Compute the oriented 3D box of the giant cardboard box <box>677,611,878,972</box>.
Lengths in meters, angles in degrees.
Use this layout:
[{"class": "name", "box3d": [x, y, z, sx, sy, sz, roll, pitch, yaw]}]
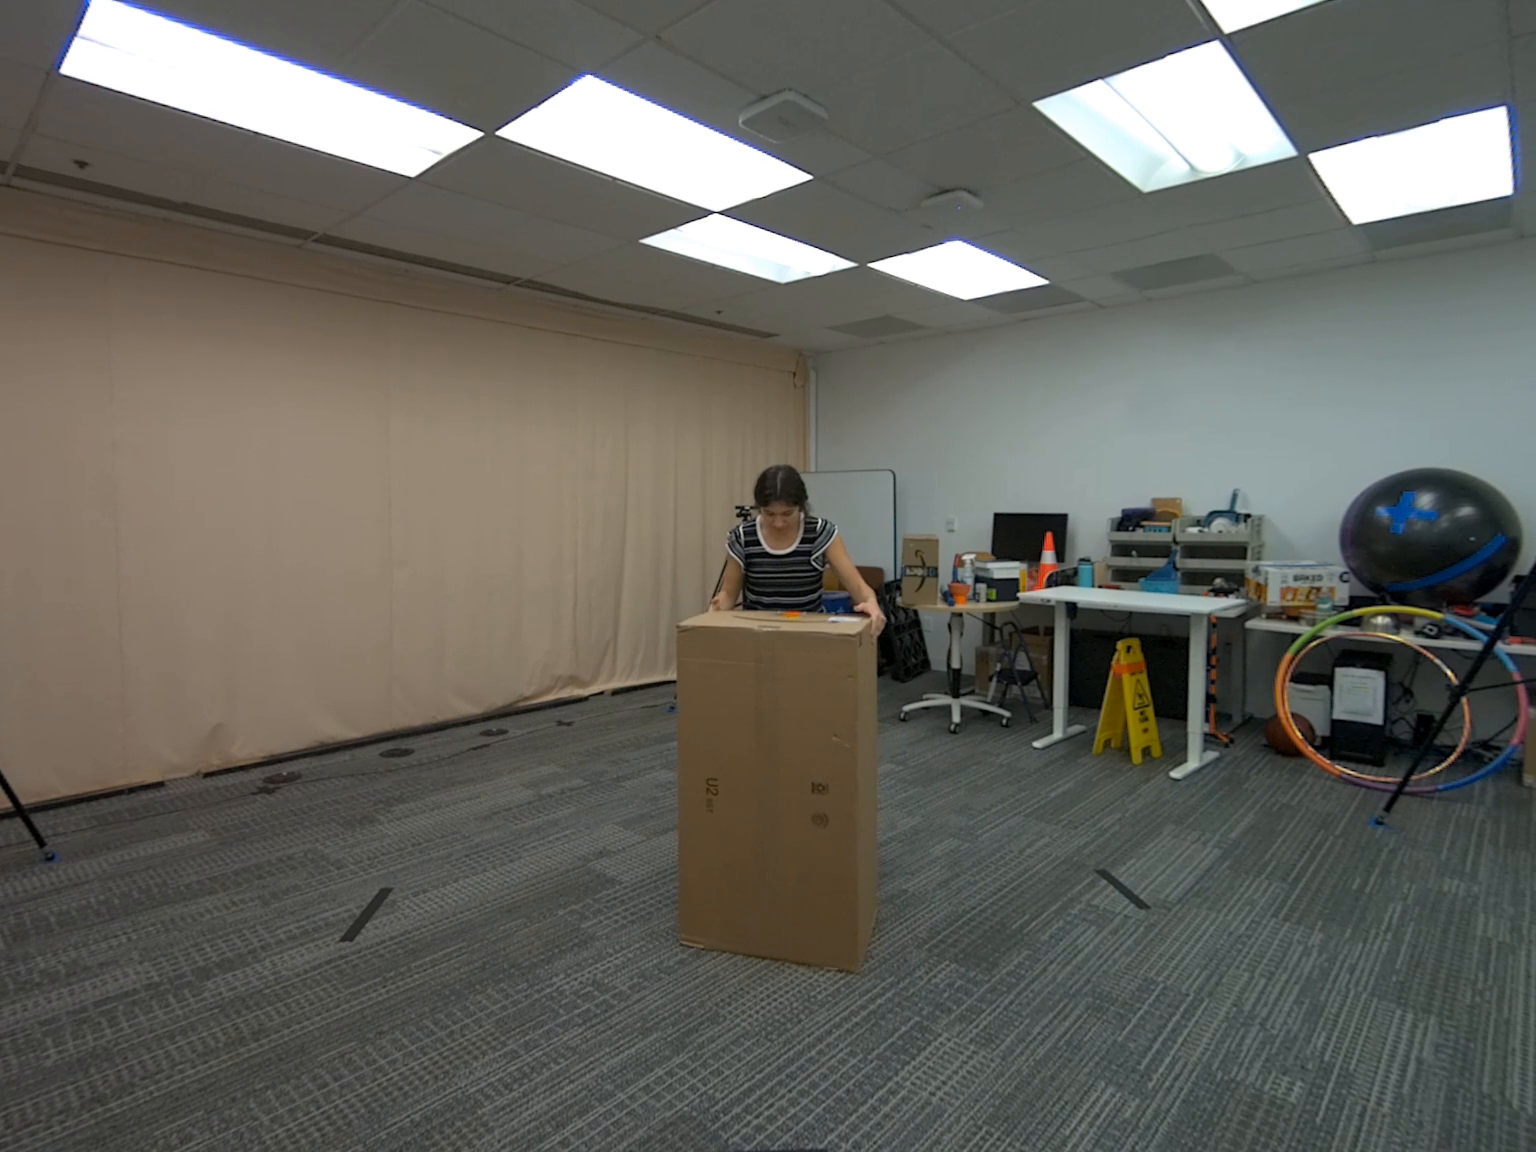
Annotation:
[{"class": "giant cardboard box", "box3d": [0.048, 0.655, 2.765, 0.588, 1.024, 0.419, 1, 3, 17]}]
